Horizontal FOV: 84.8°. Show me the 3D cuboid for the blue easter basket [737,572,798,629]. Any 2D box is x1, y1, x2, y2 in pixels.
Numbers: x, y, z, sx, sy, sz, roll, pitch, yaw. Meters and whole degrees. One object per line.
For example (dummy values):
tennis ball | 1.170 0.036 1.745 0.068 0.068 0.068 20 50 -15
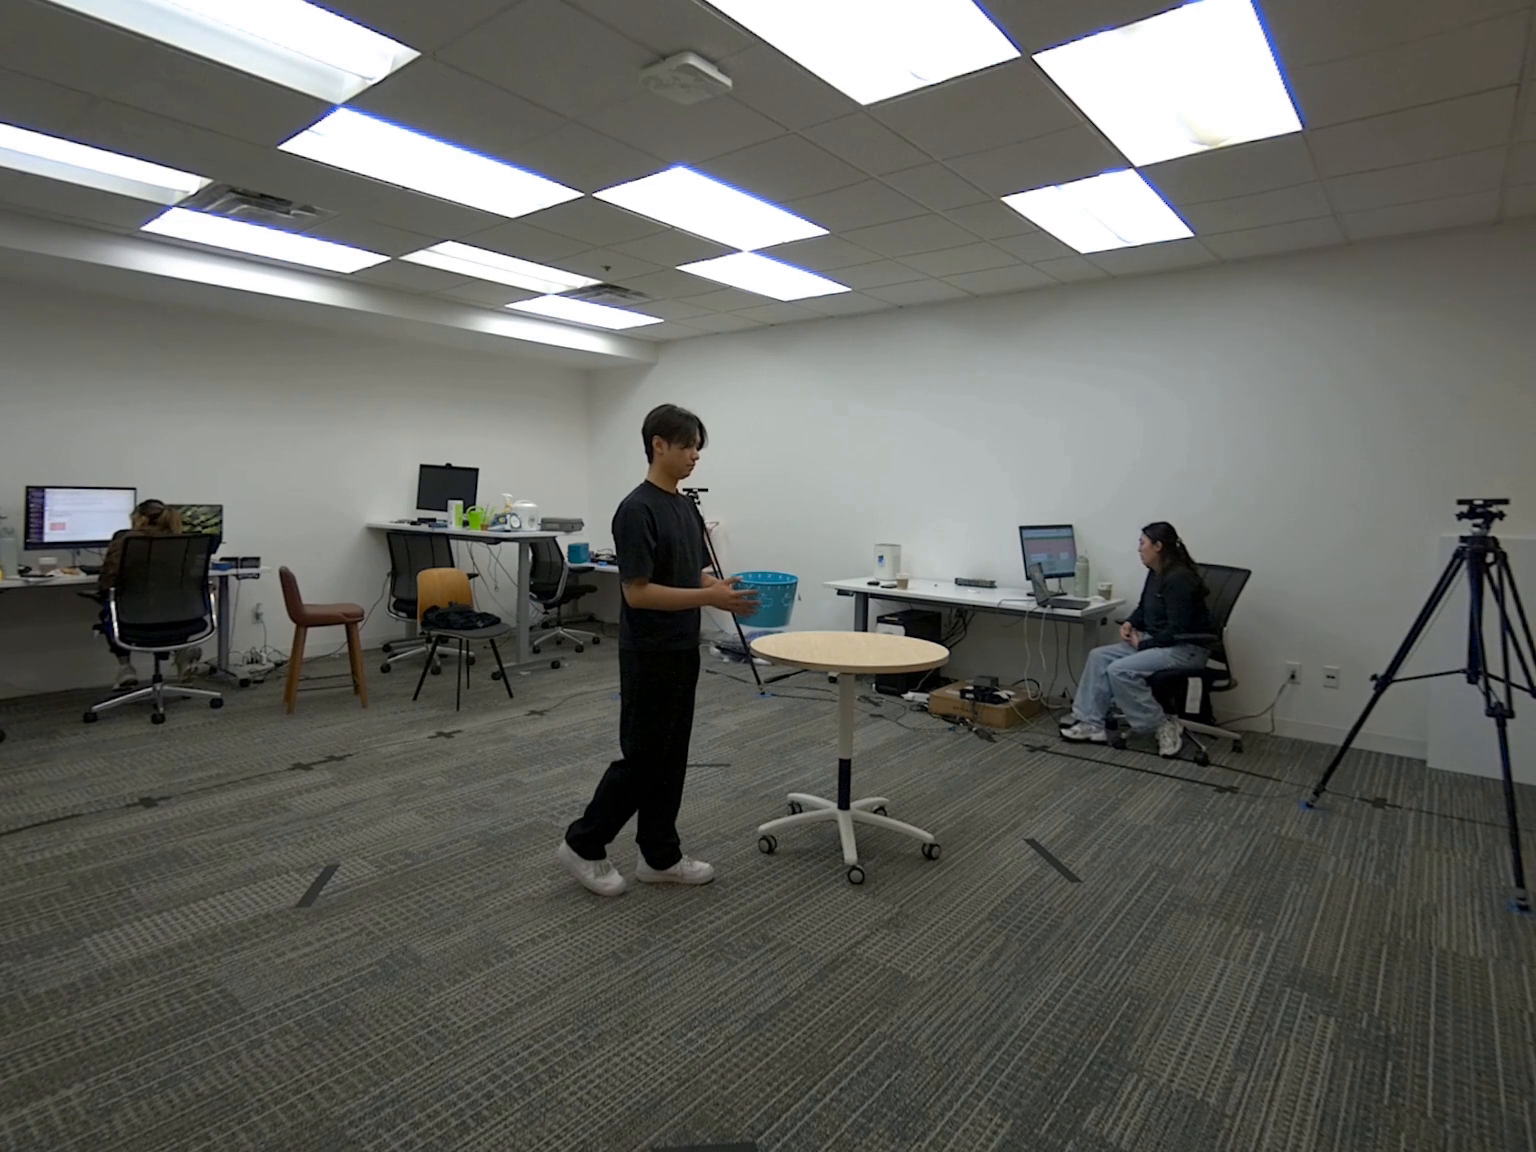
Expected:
blue easter basket | -0.035 0.080 2.835 0.243 0.155 0.246 2 8 -2
